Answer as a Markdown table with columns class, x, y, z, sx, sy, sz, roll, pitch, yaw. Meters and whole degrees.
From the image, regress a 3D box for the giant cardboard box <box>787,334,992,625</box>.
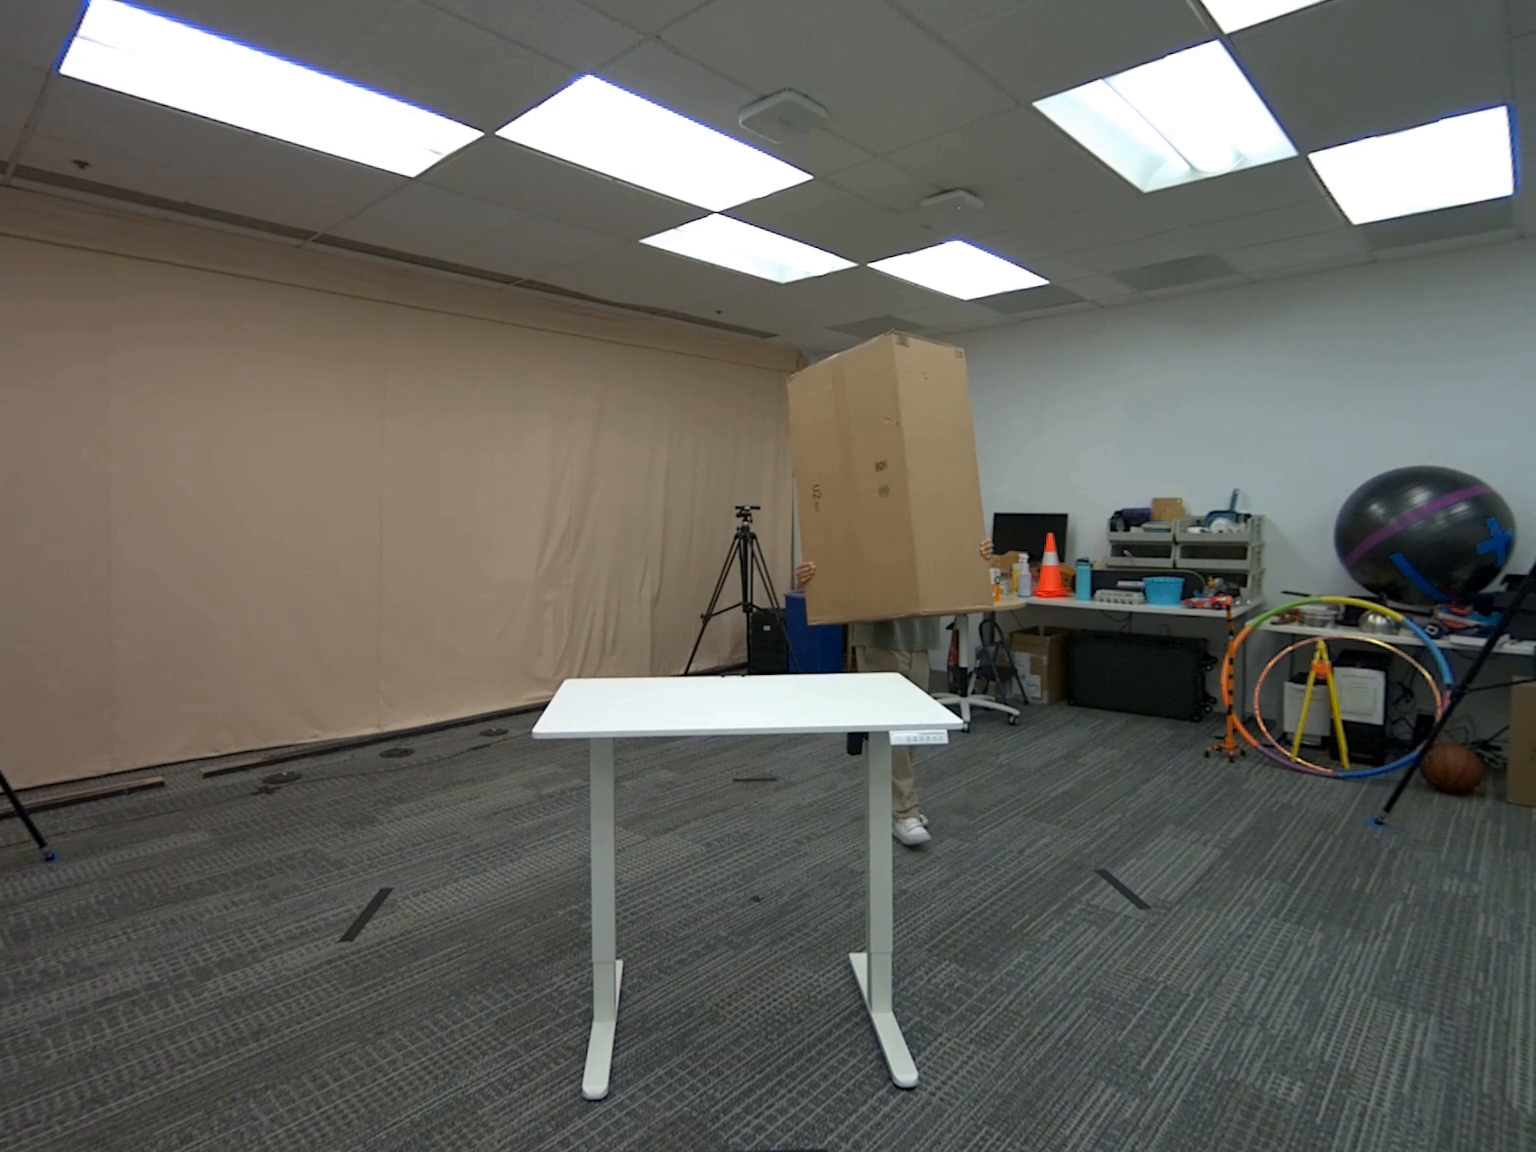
| class | x | y | z | sx | sy | sz | roll | pitch | yaw |
| --- | --- | --- | --- | --- | --- | --- | --- | --- | --- |
| giant cardboard box | 0.467 | -0.339 | 3.293 | 0.413 | 1.031 | 0.593 | 2 | -10 | -40 |
